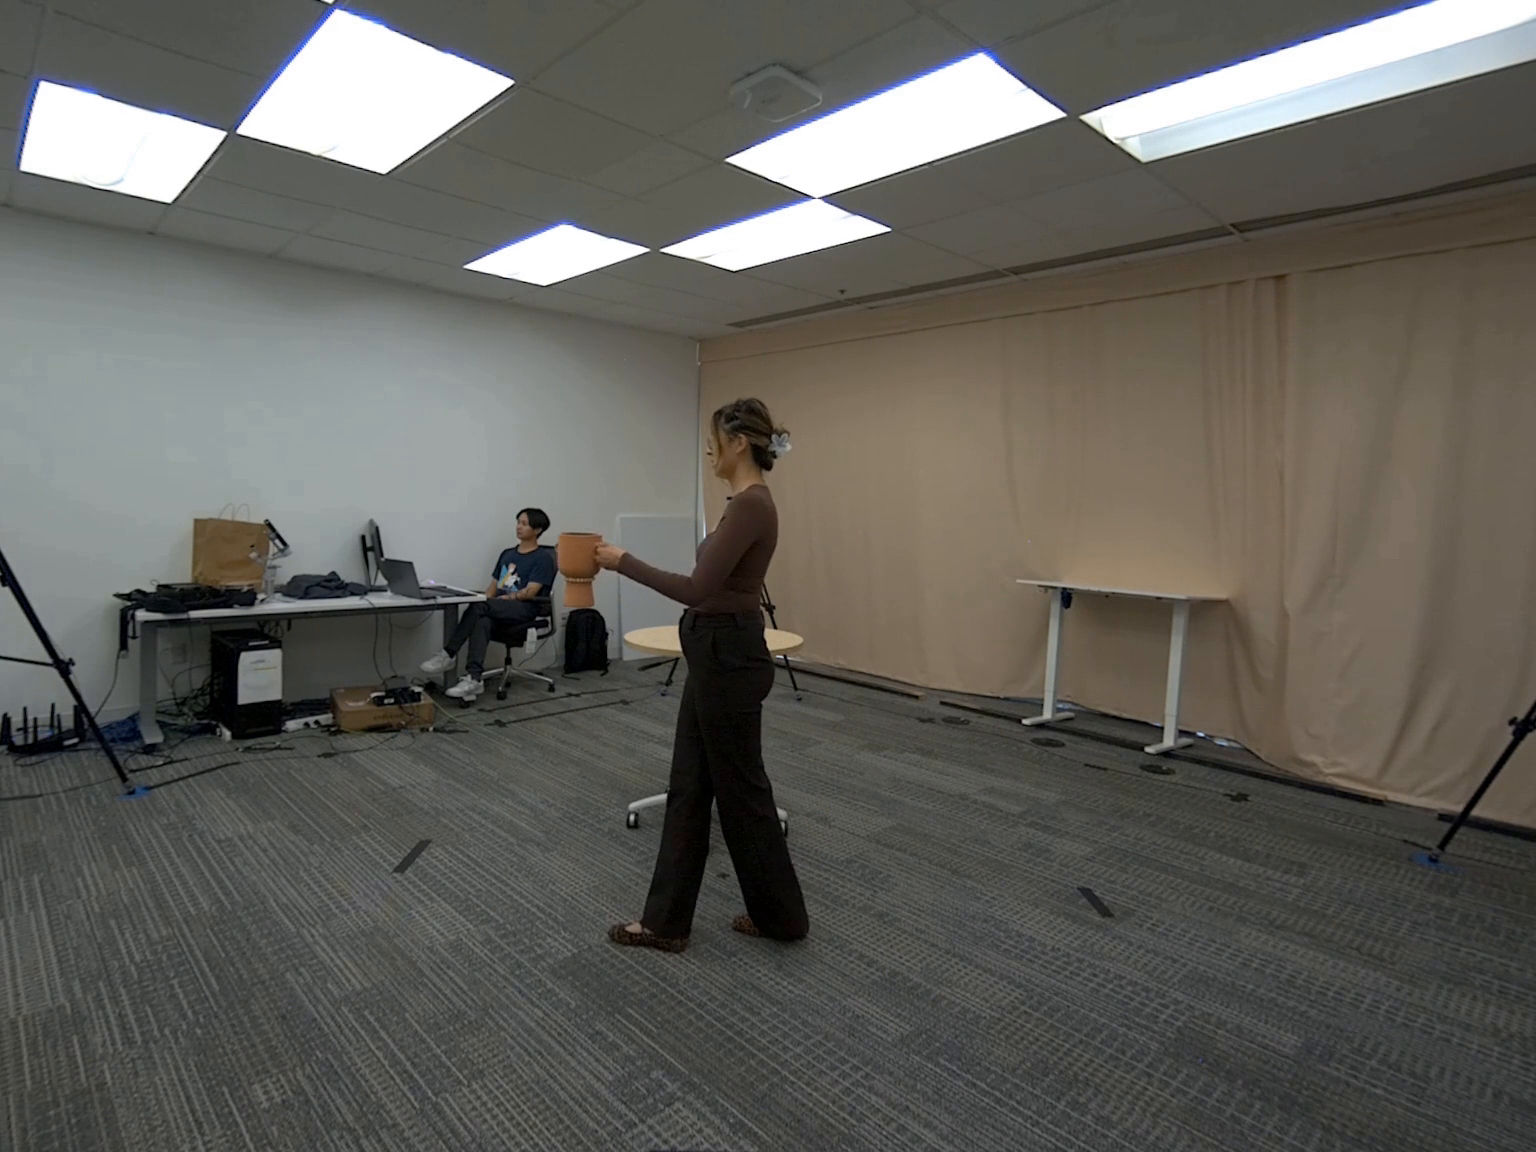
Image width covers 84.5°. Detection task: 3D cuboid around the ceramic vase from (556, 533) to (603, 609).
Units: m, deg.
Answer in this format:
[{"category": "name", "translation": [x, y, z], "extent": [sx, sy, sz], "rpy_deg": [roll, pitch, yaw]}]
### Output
[{"category": "ceramic vase", "translation": [-0.584, -0.023, 2.583], "extent": [0.132, 0.219, 0.162], "rpy_deg": [1, 5, -22]}]
